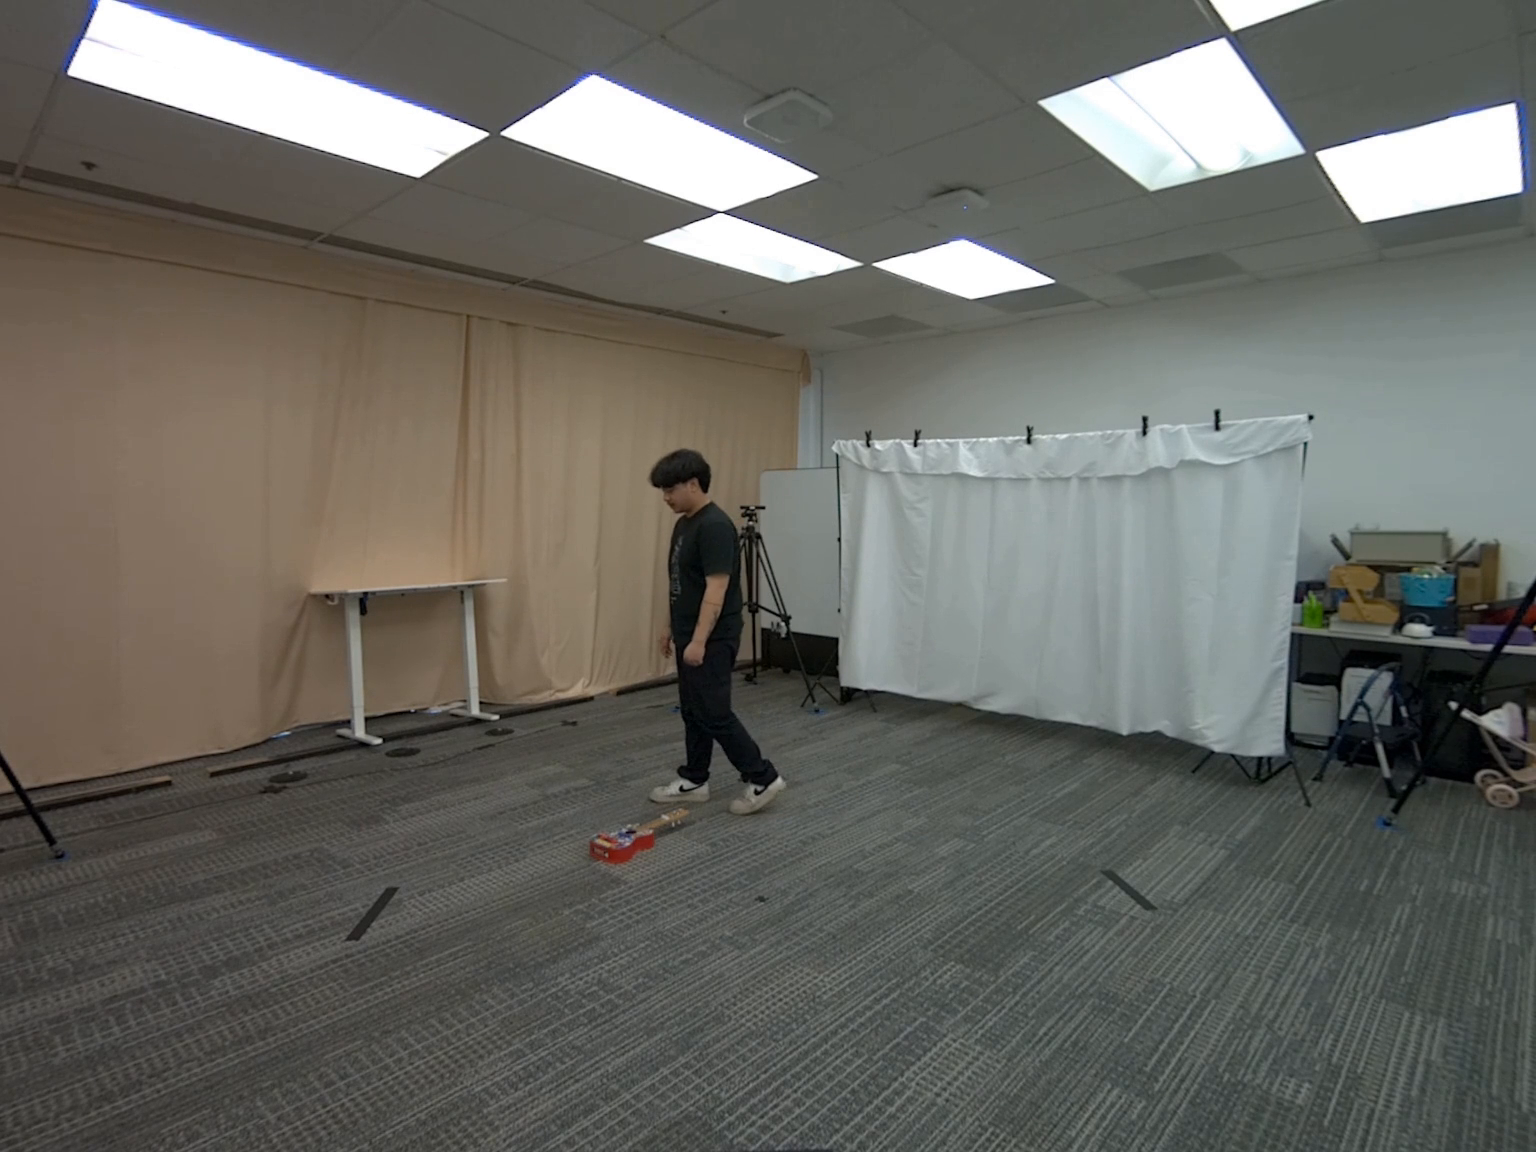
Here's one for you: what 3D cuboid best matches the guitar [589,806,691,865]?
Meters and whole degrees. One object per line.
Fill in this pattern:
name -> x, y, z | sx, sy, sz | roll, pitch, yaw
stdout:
guitar -> -0.498, 1.073, 3.487 | 0.483, 0.070, 0.199 | -5, 6, -40
